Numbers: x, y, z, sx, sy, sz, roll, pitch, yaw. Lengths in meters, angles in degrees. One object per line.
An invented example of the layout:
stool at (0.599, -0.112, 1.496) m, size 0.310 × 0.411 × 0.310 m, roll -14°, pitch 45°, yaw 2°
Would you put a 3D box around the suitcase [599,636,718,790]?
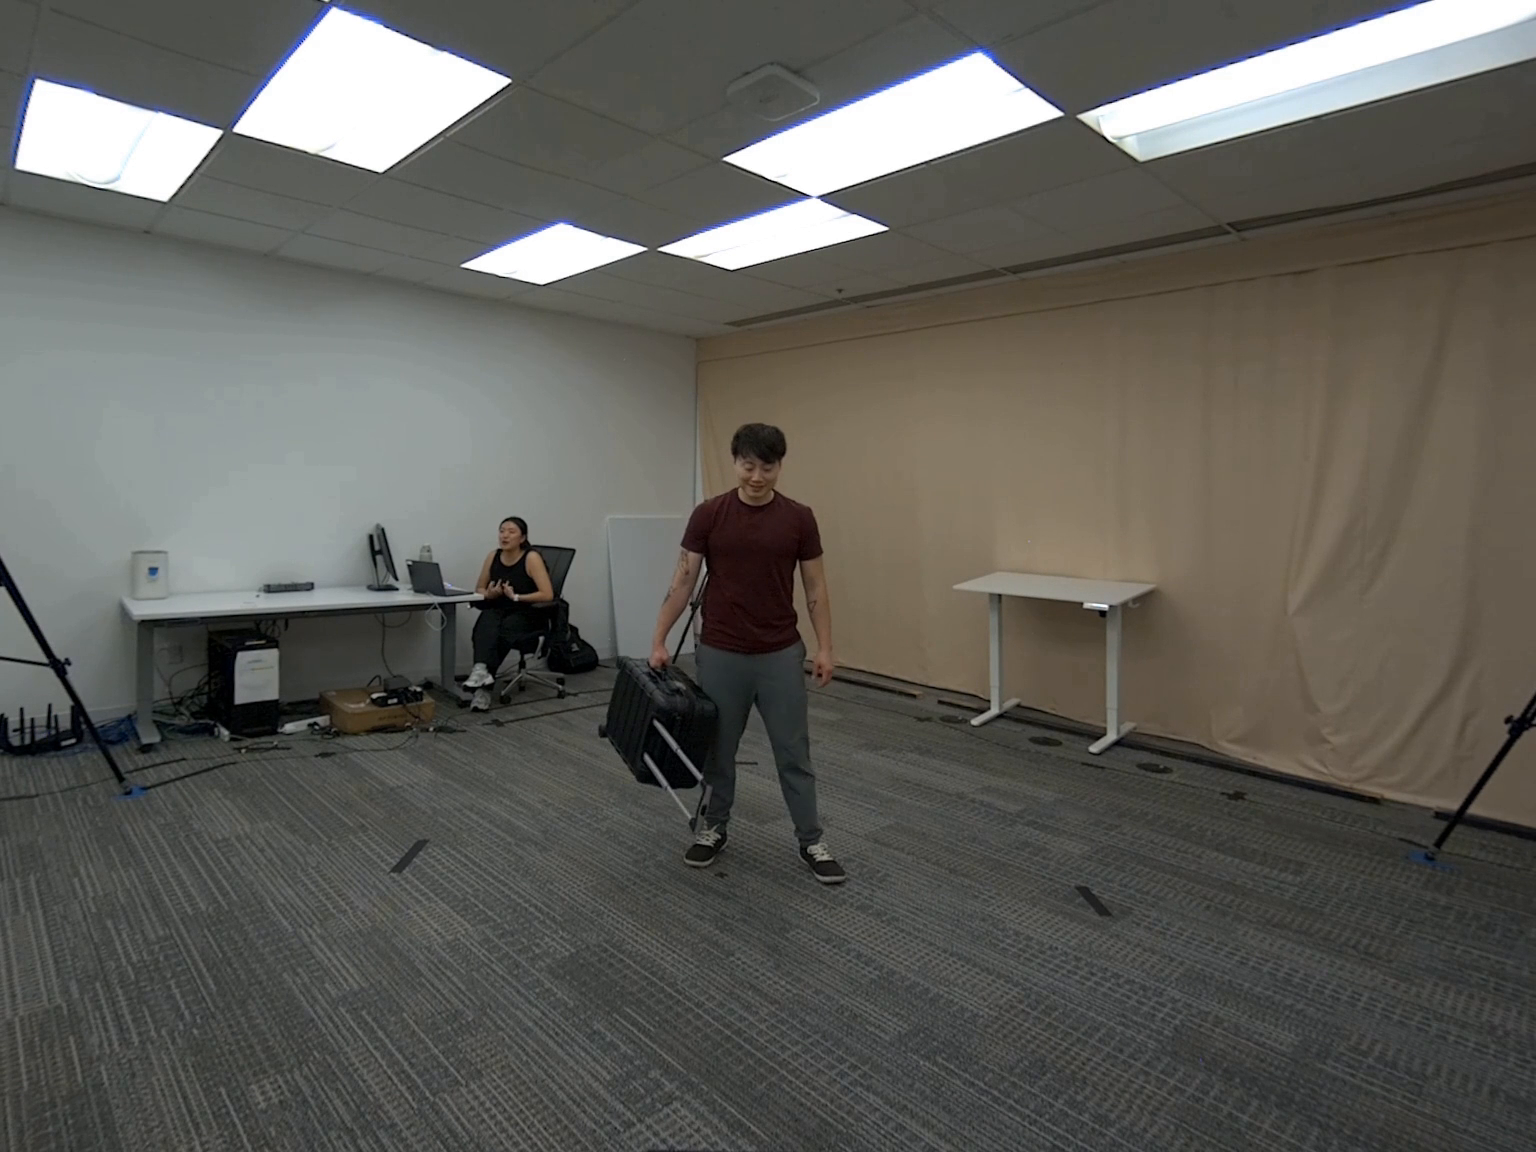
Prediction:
suitcase at (-0.333, 0.593, 3.005) m, size 0.251 × 0.383 × 1.004 m, roll 12°, pitch 7°, yaw -28°
